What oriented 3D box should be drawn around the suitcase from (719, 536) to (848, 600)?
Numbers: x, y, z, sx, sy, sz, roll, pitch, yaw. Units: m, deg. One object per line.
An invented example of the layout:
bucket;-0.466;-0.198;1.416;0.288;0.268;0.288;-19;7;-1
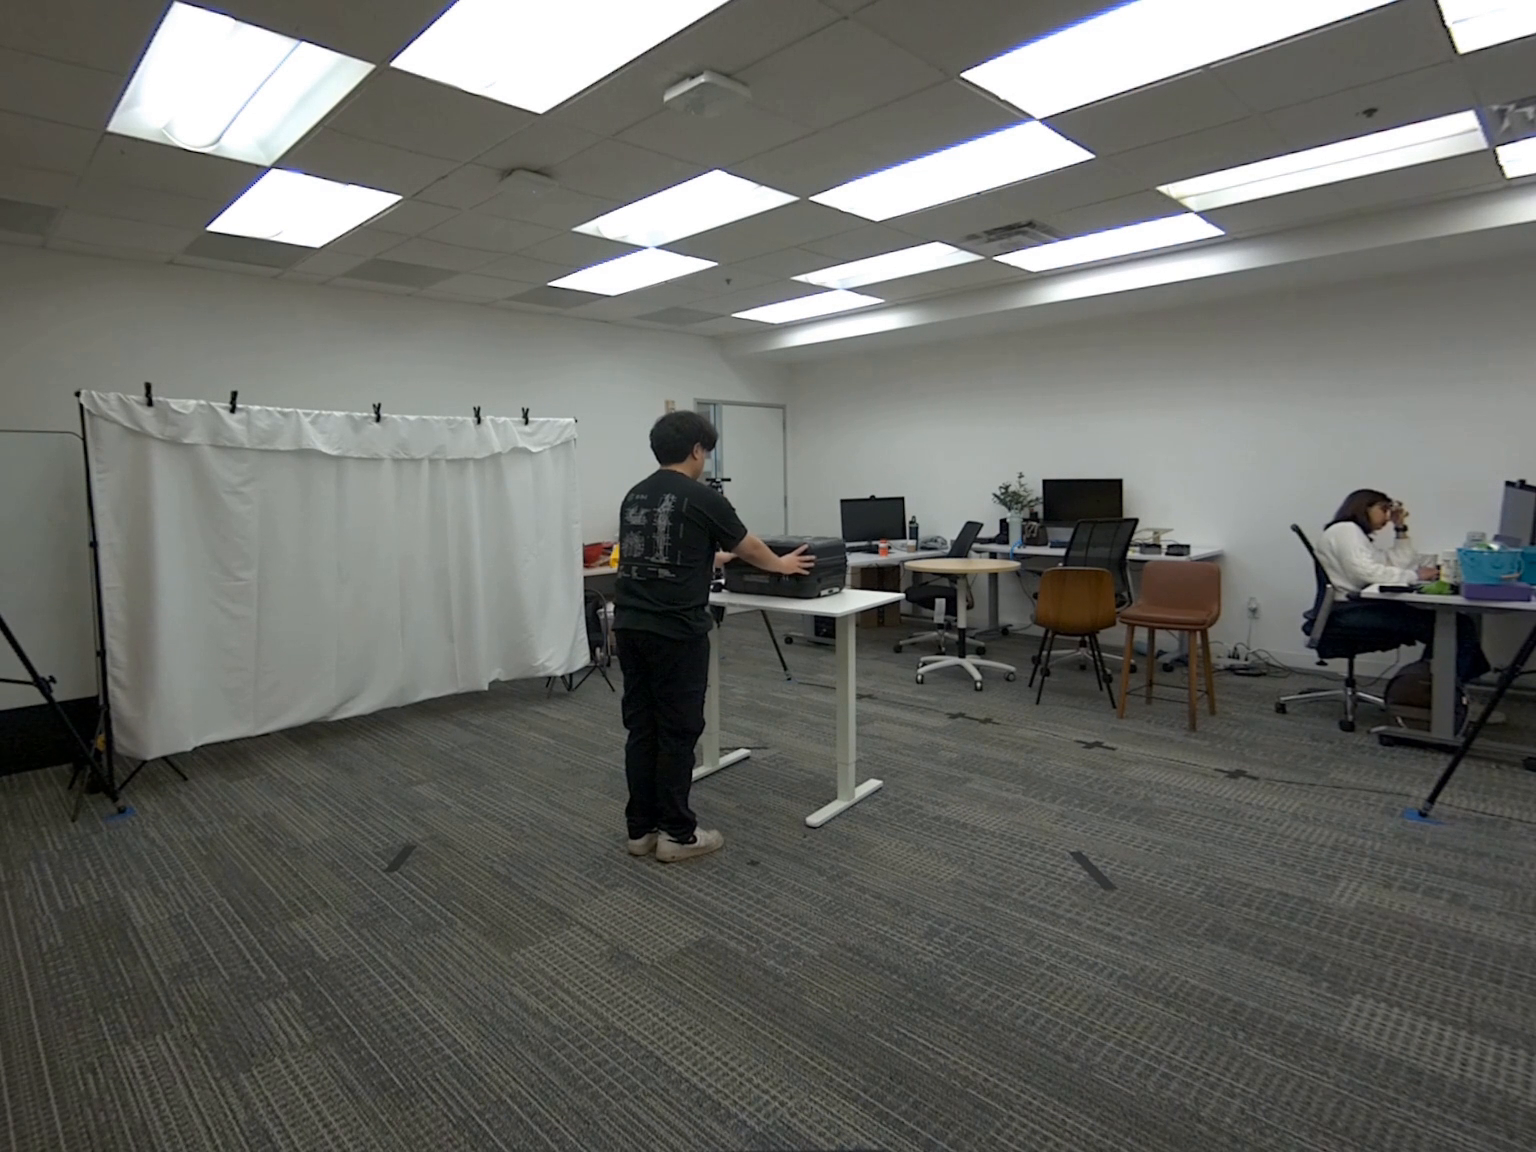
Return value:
suitcase;0.064;-0.044;3.857;0.565;0.247;0.366;4;6;37
